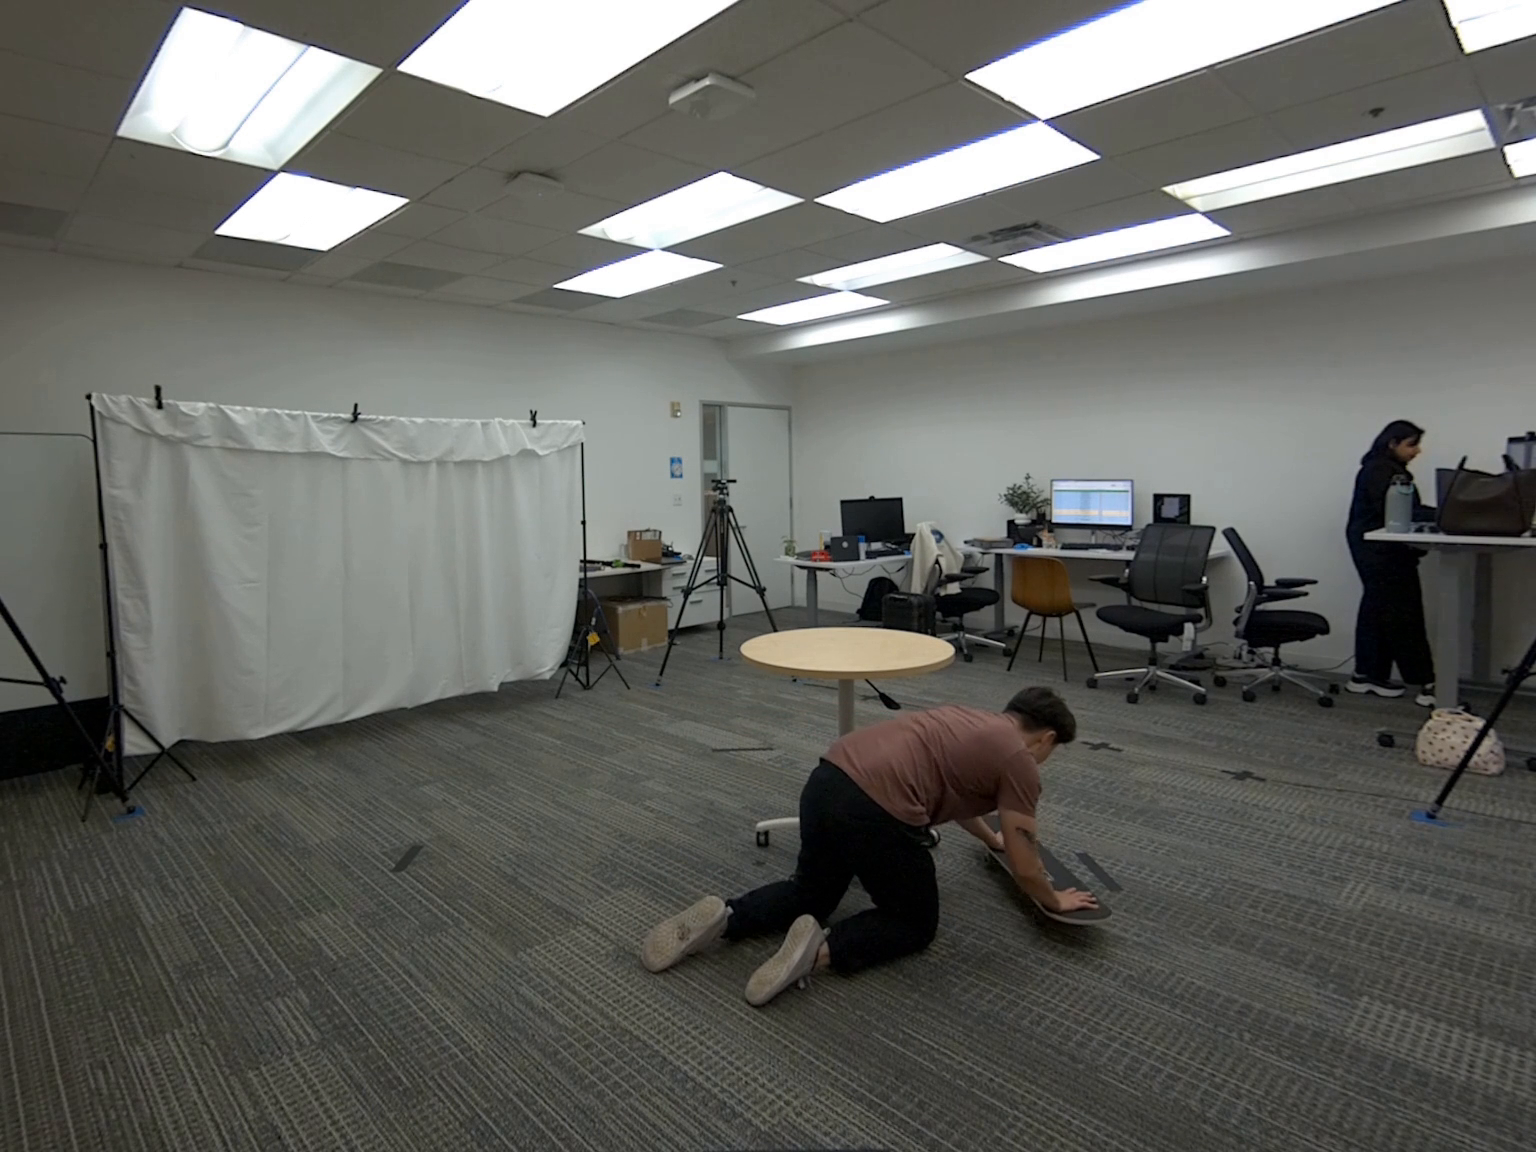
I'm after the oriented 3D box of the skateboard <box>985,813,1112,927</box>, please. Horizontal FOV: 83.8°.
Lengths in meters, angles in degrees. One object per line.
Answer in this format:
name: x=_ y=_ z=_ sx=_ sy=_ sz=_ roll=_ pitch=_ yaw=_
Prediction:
skateboard: x=0.885 y=0.995 z=2.875 sx=0.192 sy=0.110 sz=0.793 roll=-2 pitch=7 yaw=-7
